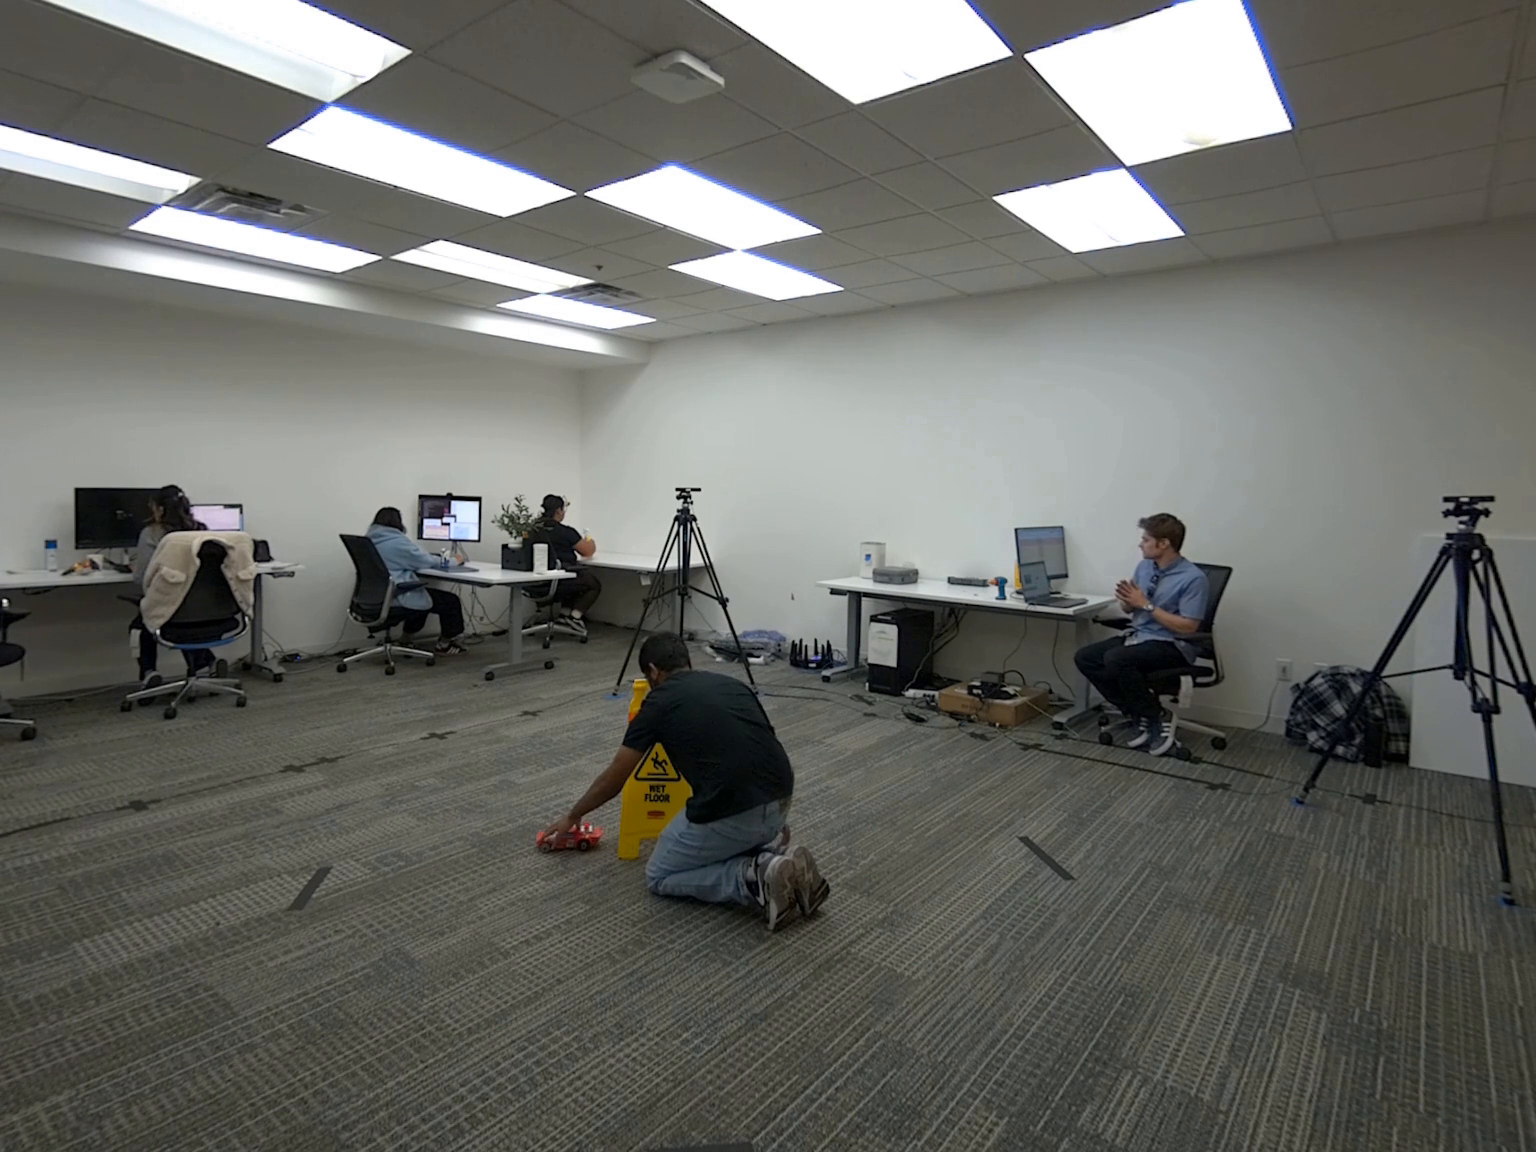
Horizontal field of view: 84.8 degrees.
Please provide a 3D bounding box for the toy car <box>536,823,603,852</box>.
[{"bbox_3d":[-0.759,1.008,3.287,0.253,0.083,0.132,-12,6,-5],"label":"toy car"}]
